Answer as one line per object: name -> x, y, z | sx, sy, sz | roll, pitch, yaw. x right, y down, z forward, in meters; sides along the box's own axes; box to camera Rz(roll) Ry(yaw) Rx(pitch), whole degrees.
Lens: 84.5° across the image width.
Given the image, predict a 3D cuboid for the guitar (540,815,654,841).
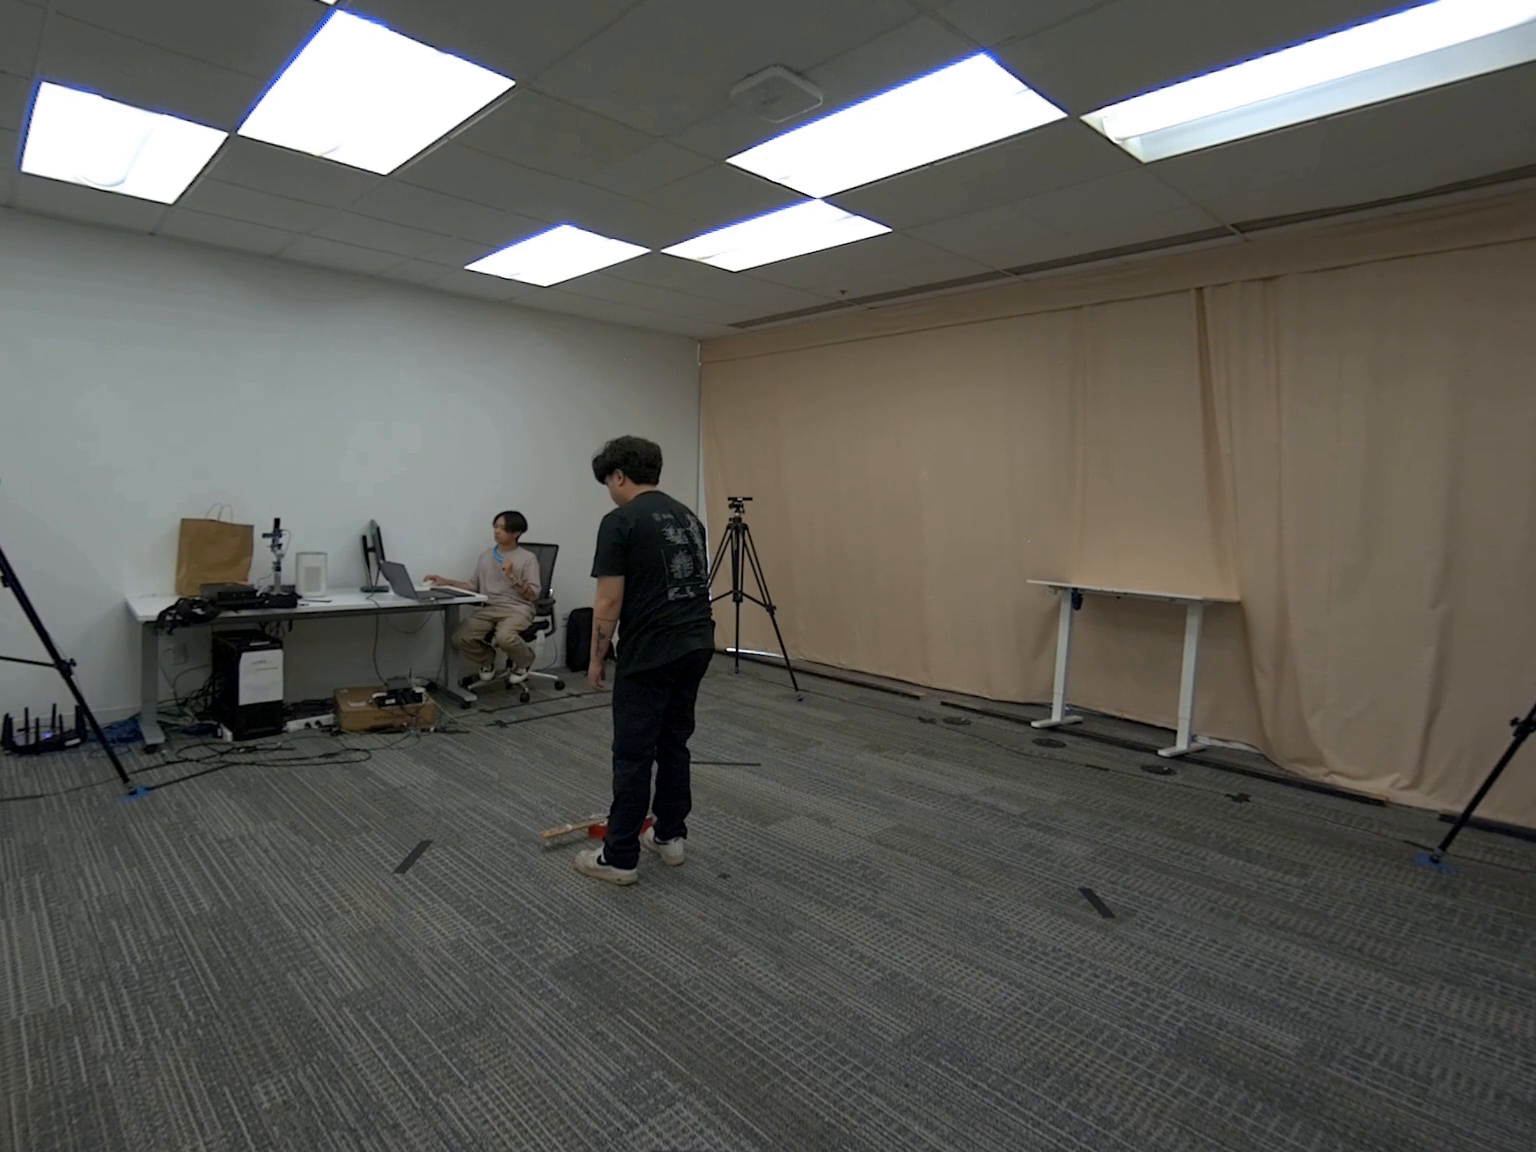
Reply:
guitar -> -0.719, 1.019, 3.464 | 0.487, 0.070, 0.197 | -2, 6, -32
